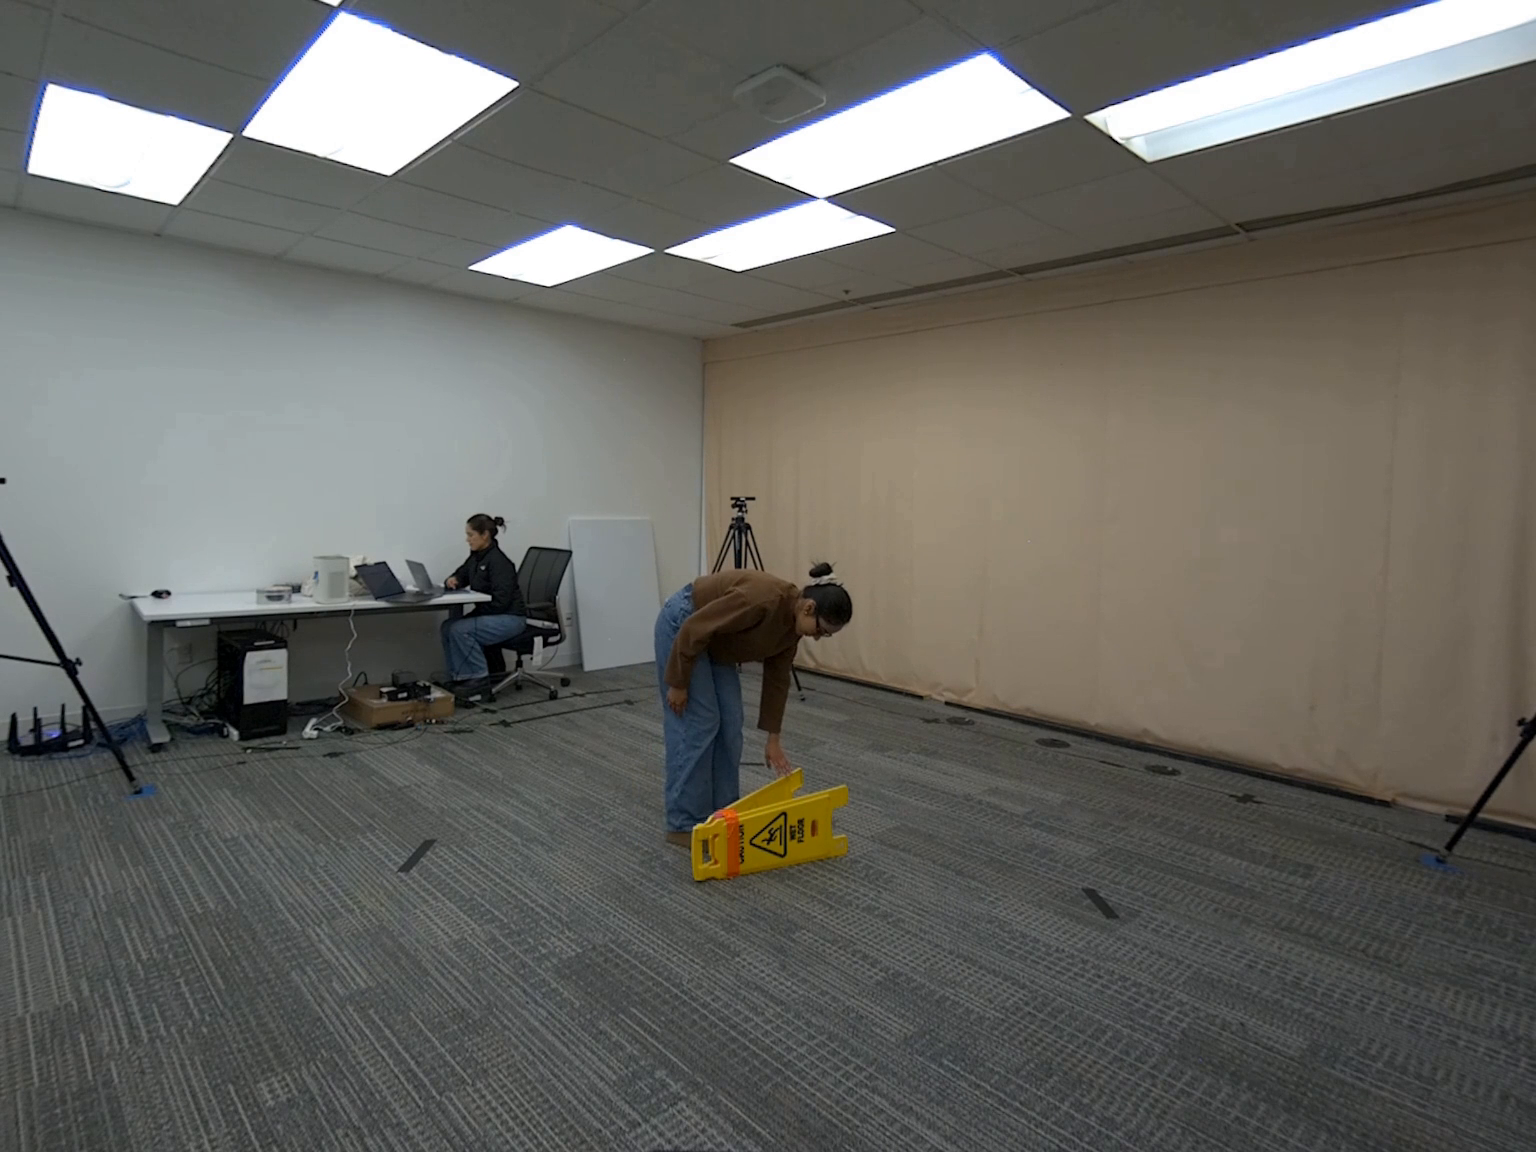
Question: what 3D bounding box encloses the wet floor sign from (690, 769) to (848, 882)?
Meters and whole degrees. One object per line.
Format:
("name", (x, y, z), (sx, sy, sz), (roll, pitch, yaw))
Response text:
("wet floor sign", (-0.020, 0.973, 3.220), (0.632, 0.281, 0.297), (-6, 8, -38))
